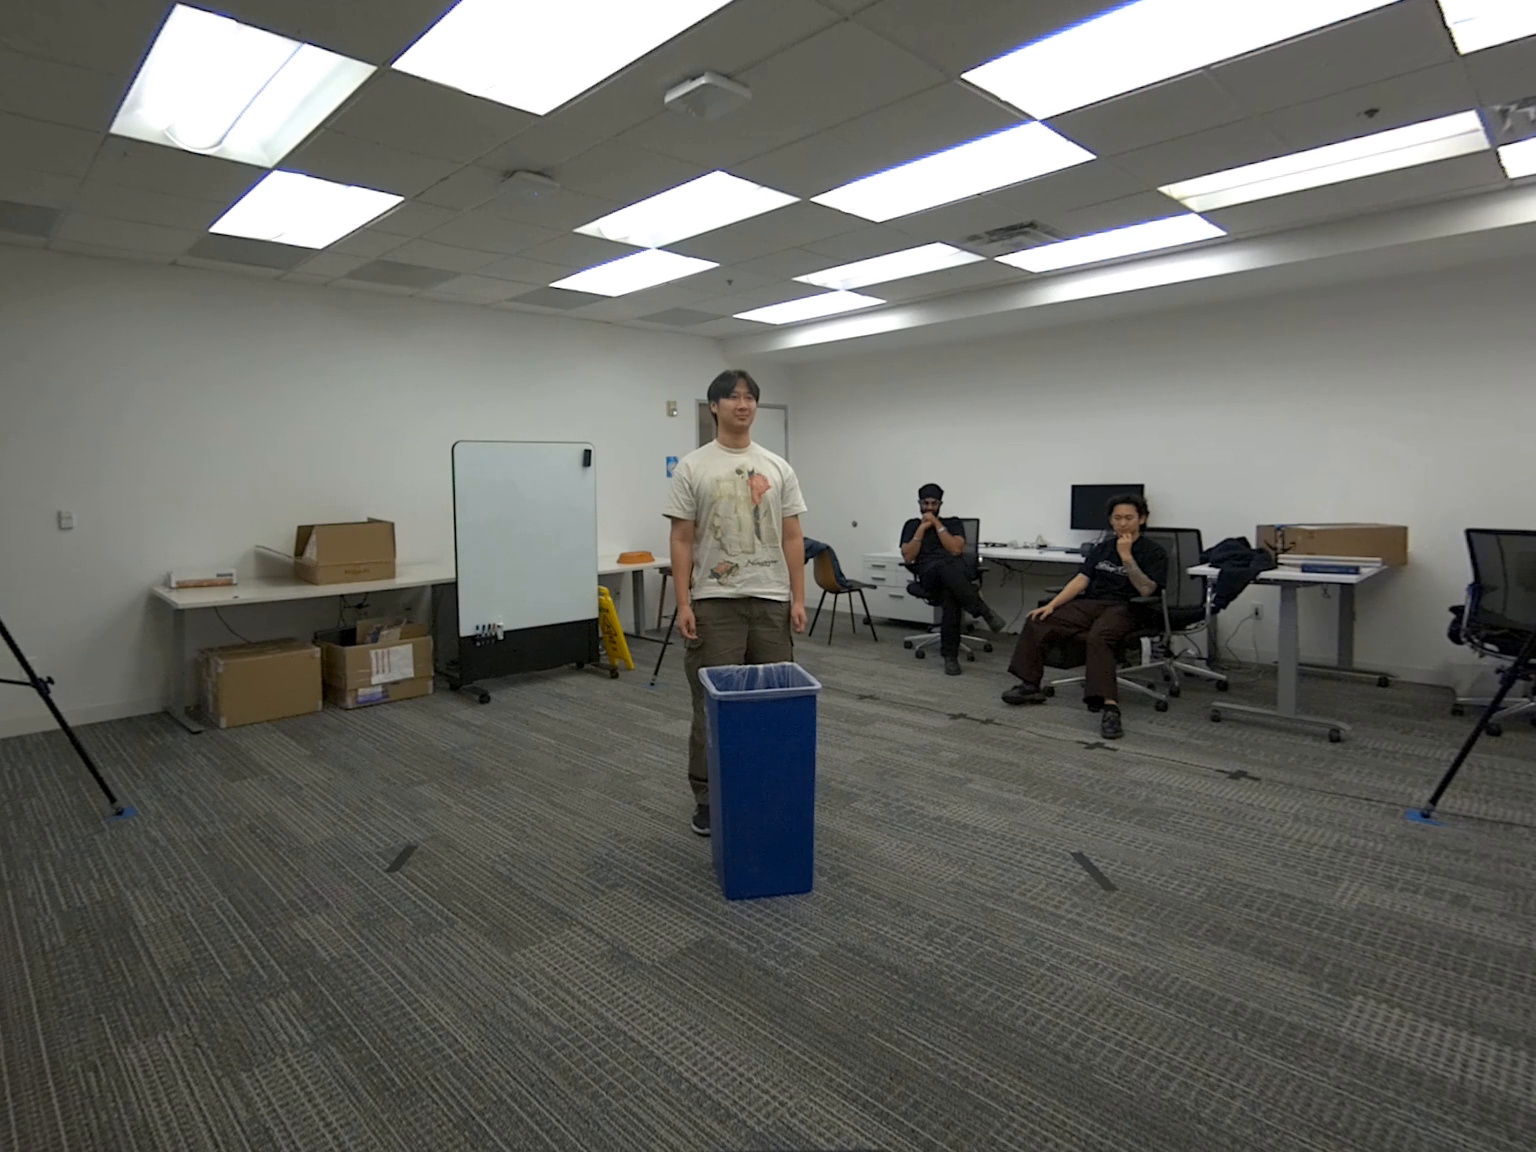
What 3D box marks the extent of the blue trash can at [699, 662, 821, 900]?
[{"bbox_3d":[-0.031,0.703,2.974,0.374,0.711,0.379,-2,4,-11],"label":"blue trash can"}]
